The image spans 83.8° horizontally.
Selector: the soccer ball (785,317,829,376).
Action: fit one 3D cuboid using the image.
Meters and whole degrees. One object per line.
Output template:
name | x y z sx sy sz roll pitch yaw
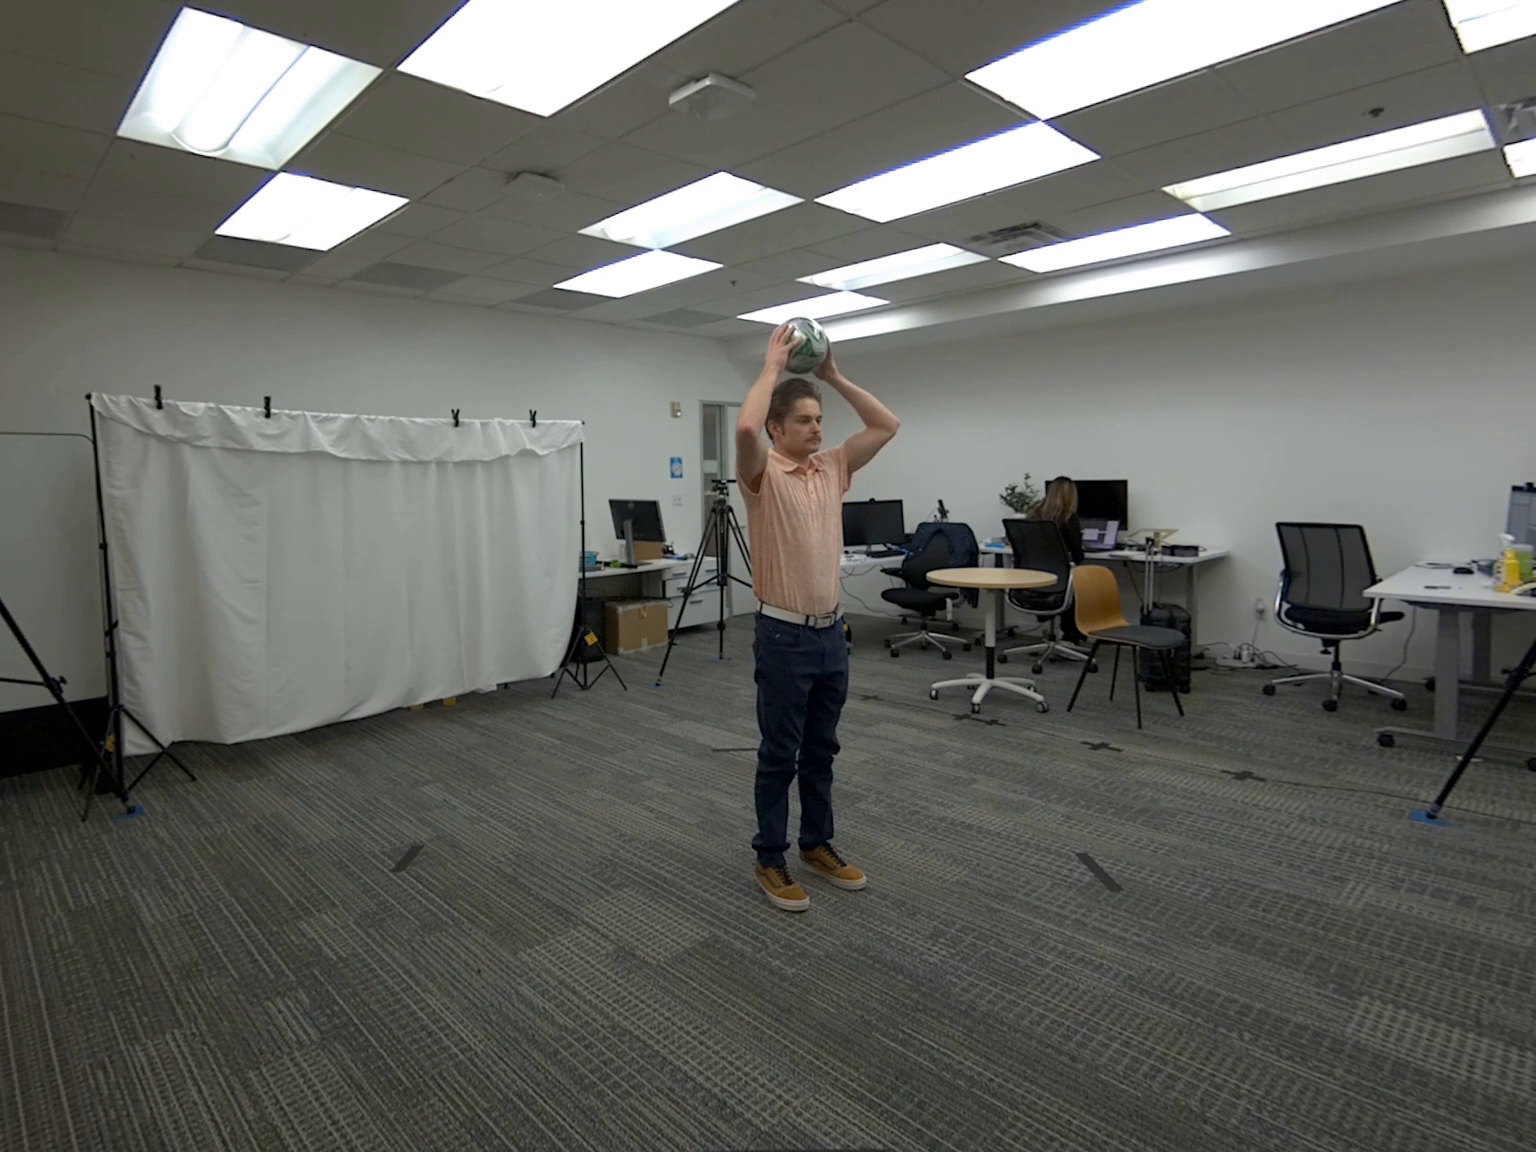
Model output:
soccer ball | 0.109 -0.763 2.827 0.187 0.187 0.188 -1 5 -2
